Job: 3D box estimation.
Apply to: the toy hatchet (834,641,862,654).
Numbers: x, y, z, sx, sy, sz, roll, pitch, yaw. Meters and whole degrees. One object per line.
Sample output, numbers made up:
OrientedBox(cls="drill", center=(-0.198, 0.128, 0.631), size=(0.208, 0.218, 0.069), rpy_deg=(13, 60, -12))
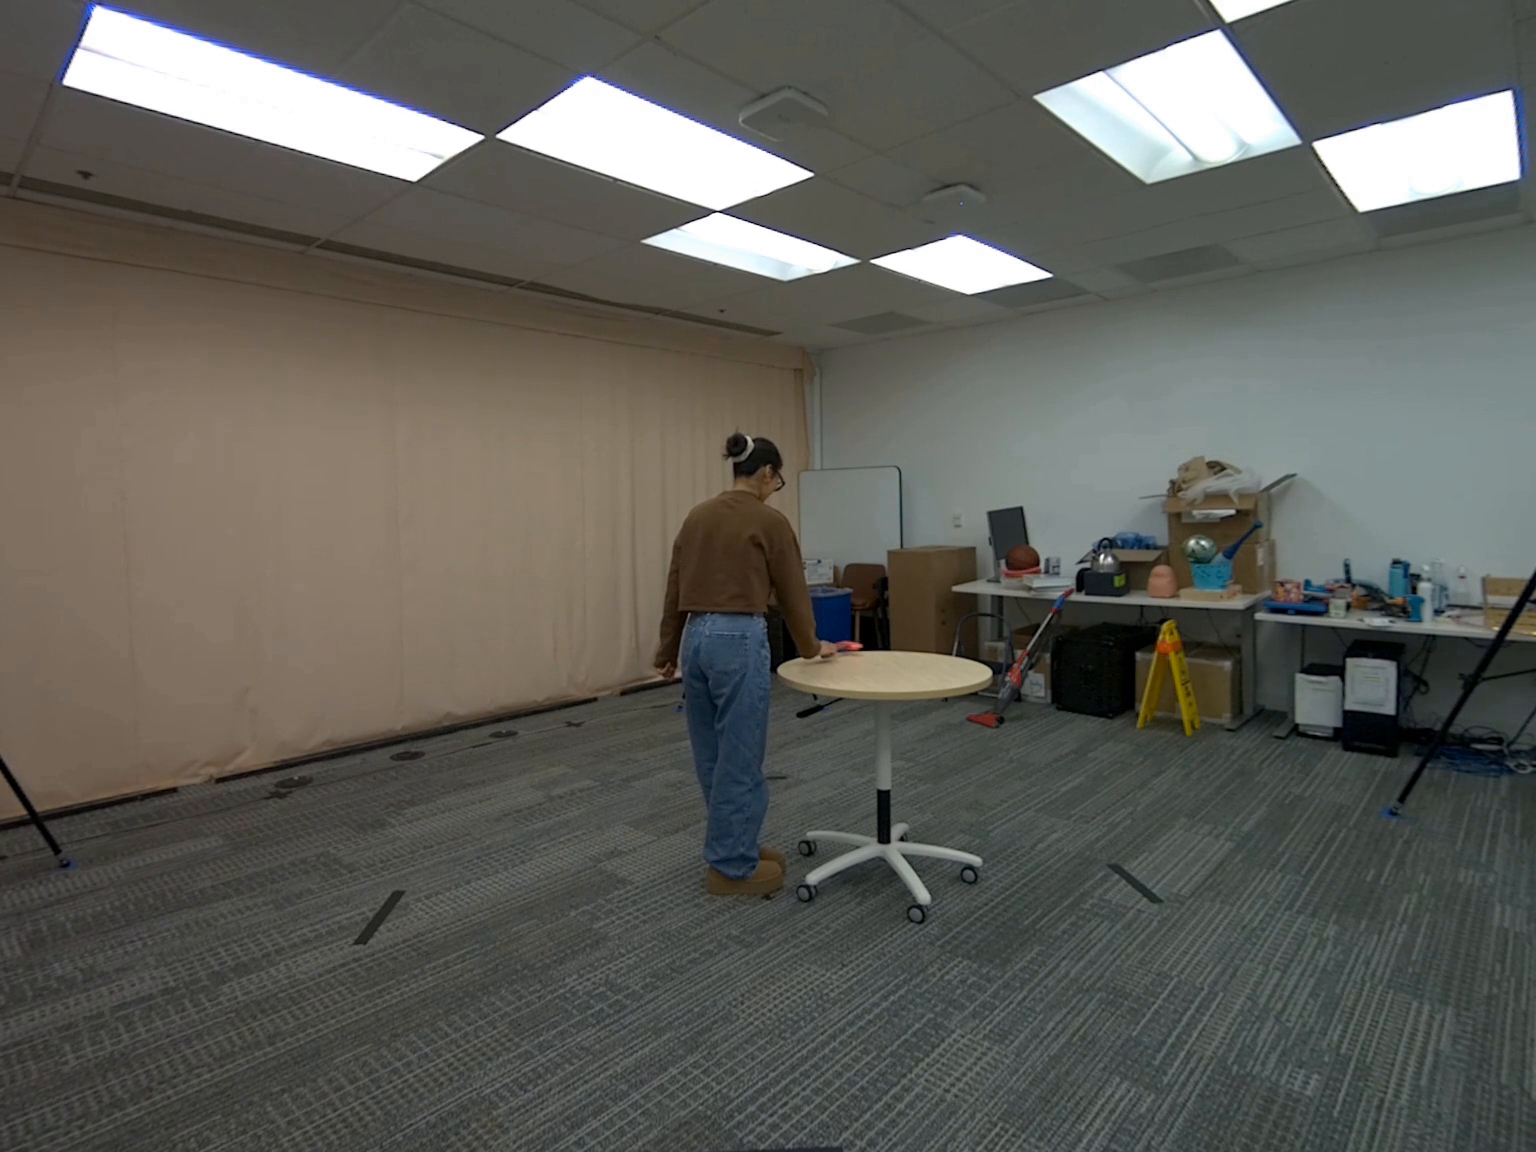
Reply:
OrientedBox(cls="toy hatchet", center=(0.232, 0.300, 3.332), size=(0.263, 0.029, 0.135), rpy_deg=(-10, 9, -34))
